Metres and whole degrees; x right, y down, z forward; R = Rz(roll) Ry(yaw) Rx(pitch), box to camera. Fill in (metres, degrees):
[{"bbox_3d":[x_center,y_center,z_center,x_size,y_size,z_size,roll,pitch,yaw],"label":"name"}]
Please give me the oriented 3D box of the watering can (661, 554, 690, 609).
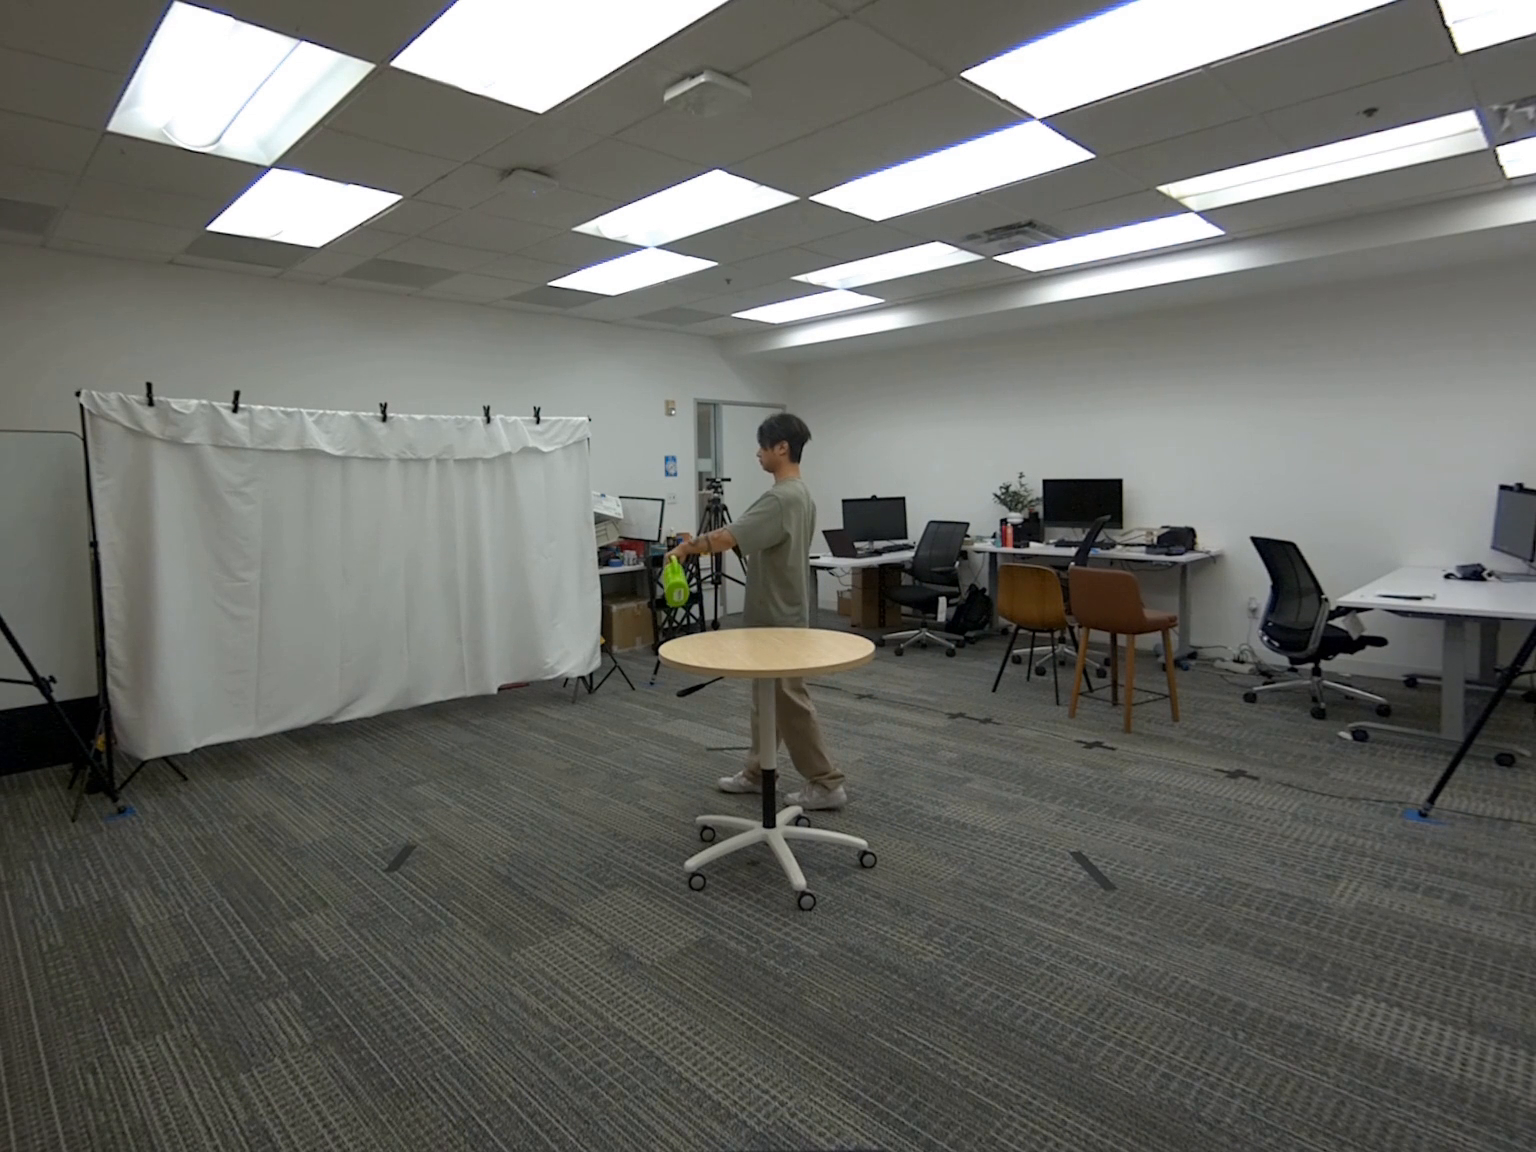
[{"bbox_3d":[-0.374,0.059,3.480,0.098,0.270,0.183,-12,38,-5],"label":"watering can"}]
